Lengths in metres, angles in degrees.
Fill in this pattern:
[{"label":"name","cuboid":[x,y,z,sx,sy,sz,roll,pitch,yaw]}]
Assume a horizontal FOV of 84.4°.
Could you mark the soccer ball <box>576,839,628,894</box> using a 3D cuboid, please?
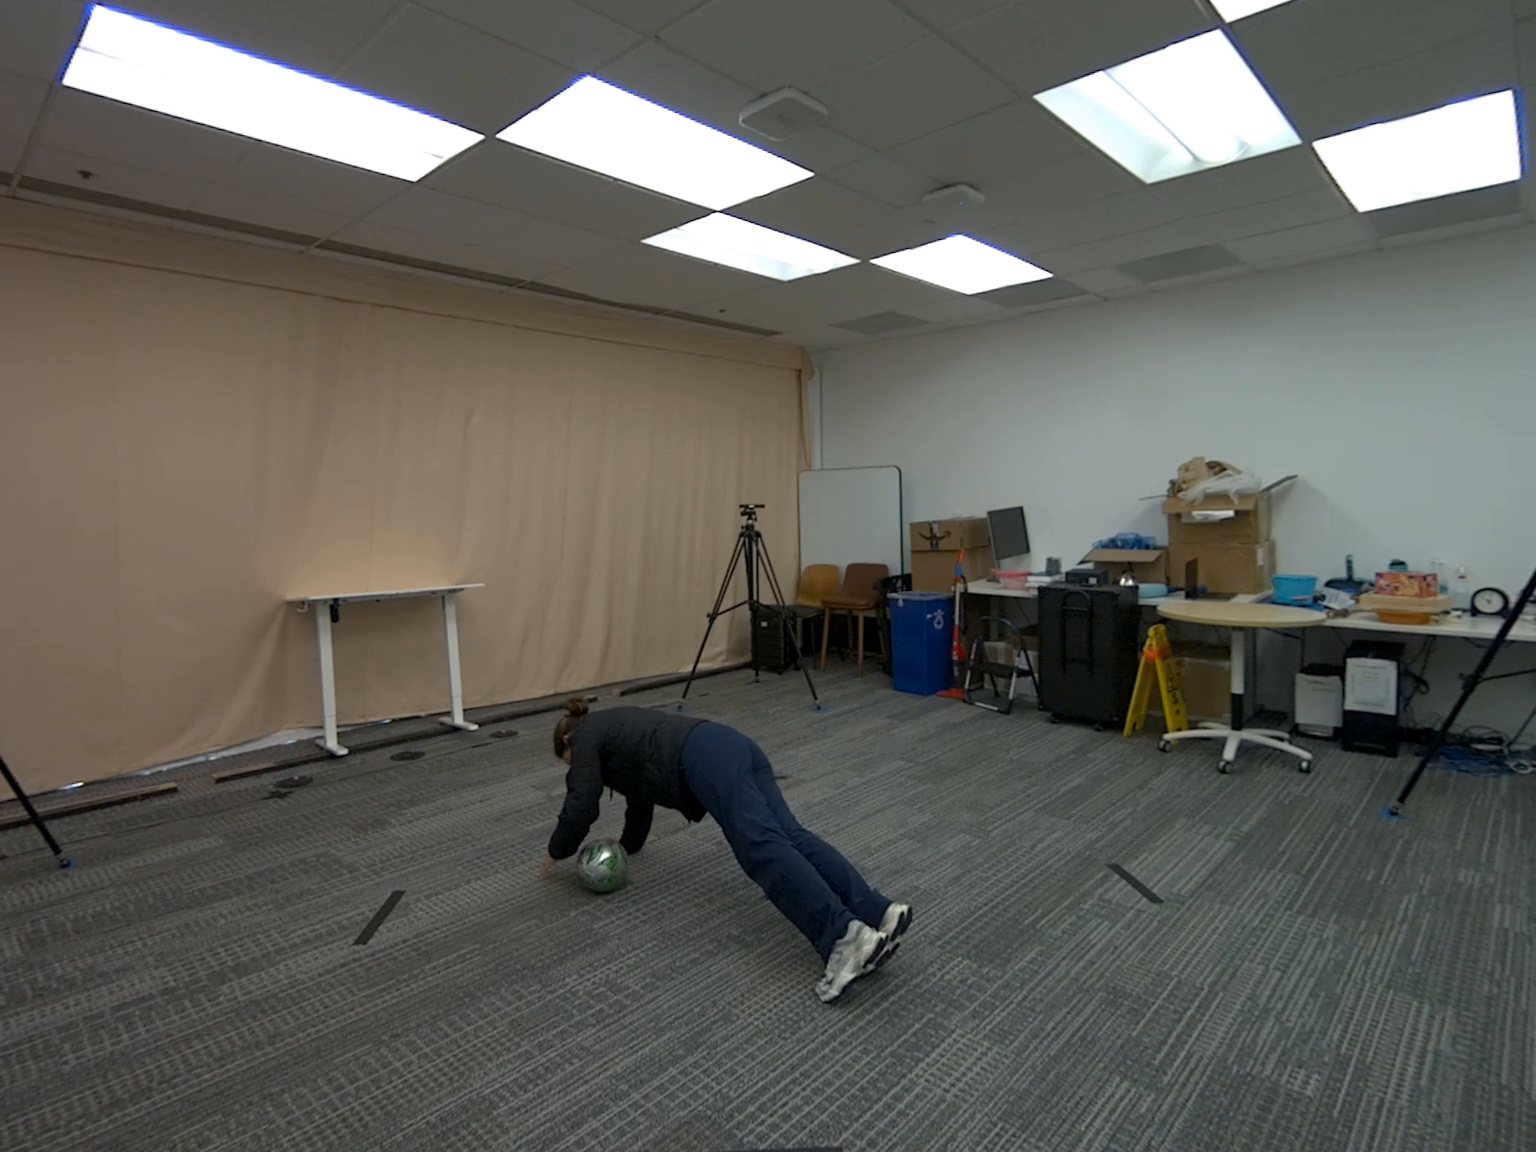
[{"label":"soccer ball","cuboid":[-0.609,1.053,3.072,0.187,0.187,0.188,-1,4,-2]}]
